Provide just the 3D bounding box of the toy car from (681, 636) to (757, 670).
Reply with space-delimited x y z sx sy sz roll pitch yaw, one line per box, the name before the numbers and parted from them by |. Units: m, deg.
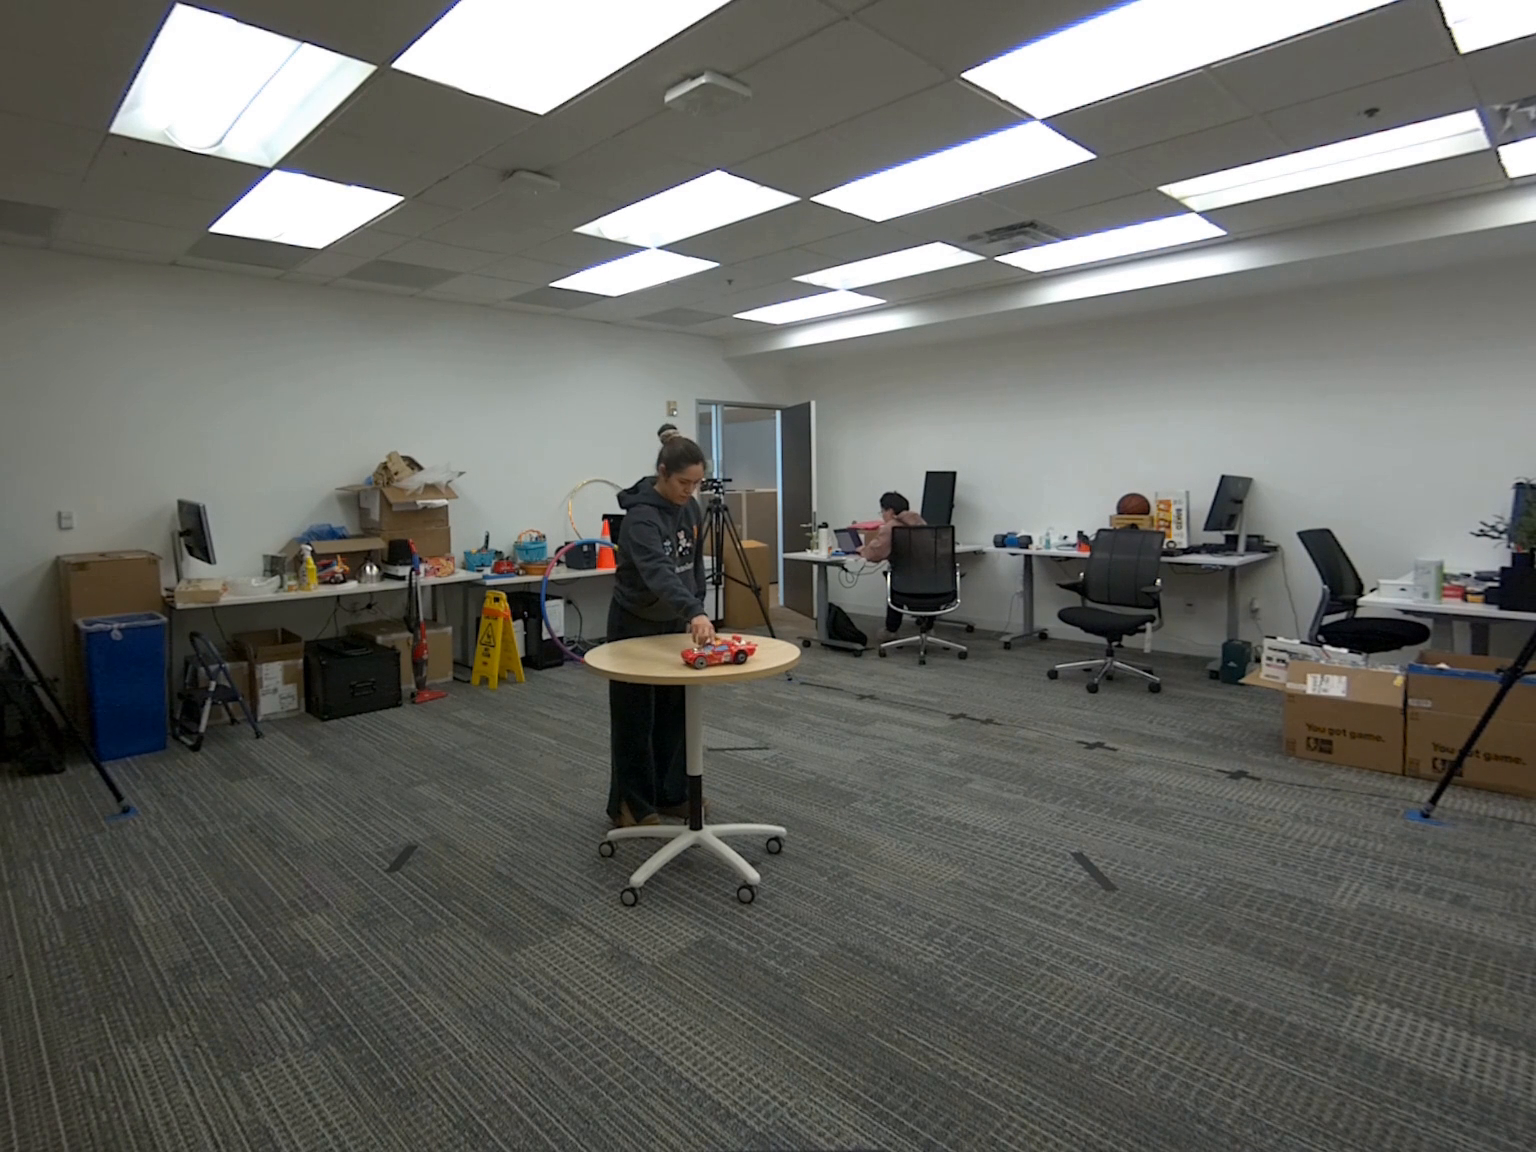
toy car | -0.154 0.260 2.839 0.251 0.082 0.133 -16 10 -22
